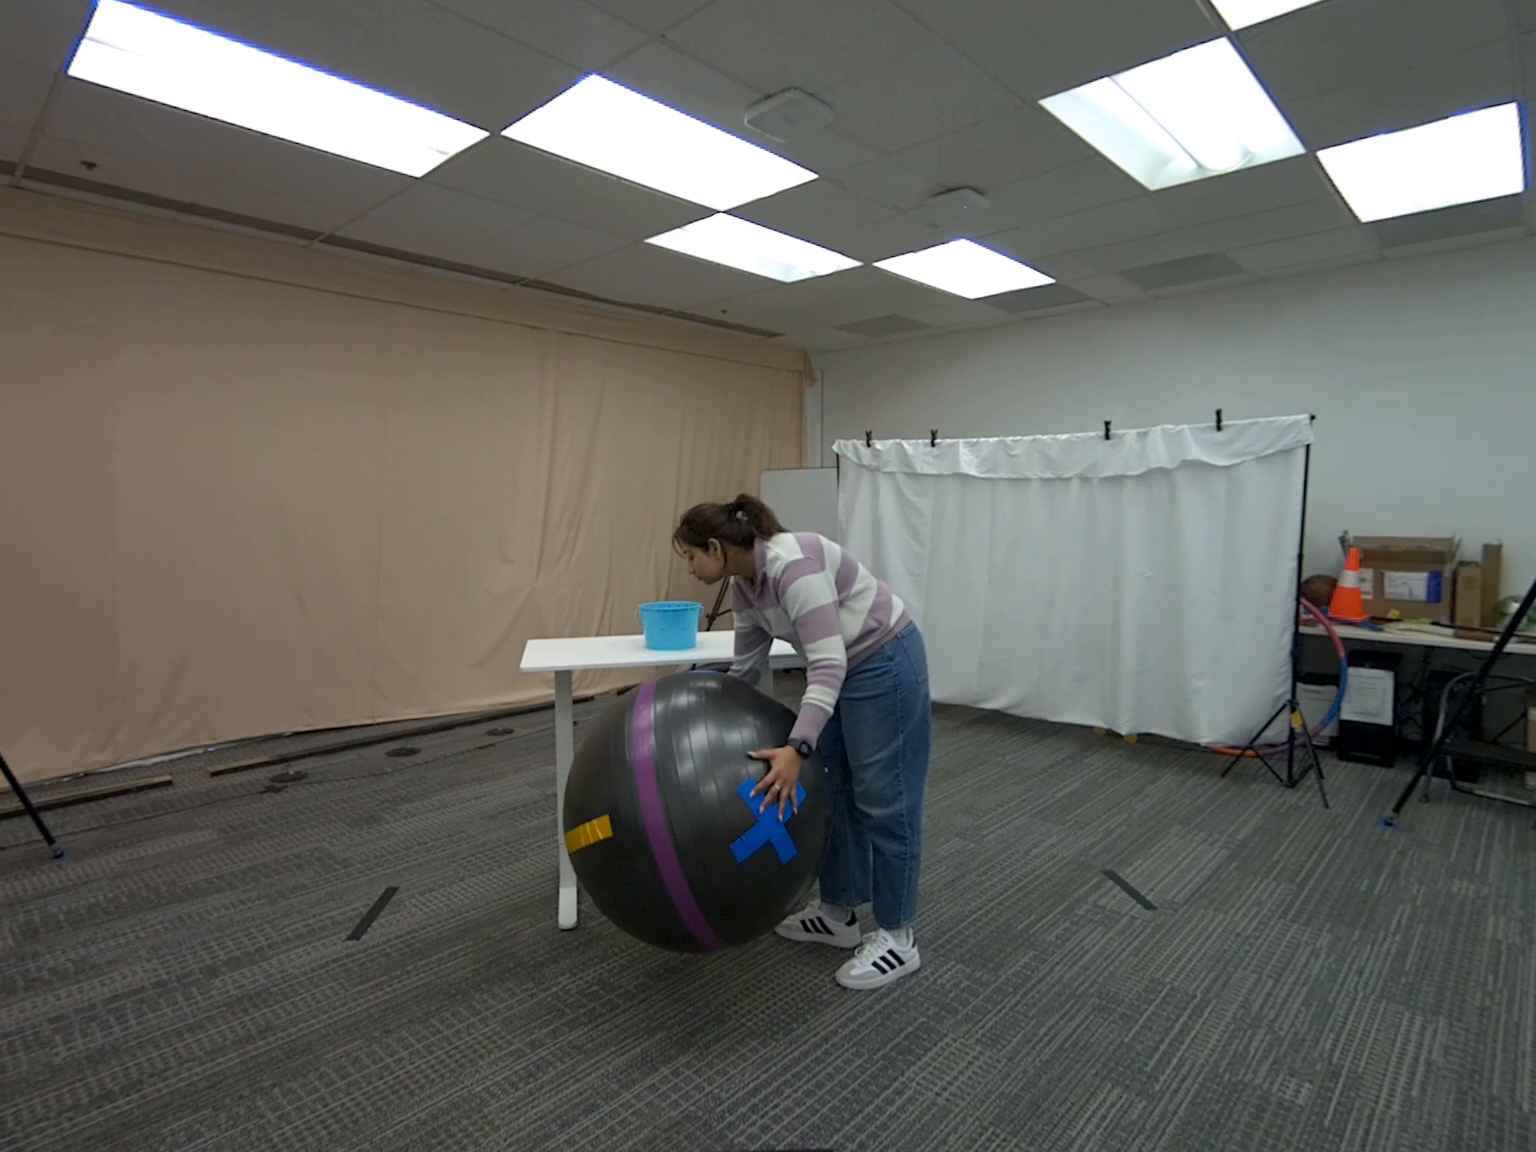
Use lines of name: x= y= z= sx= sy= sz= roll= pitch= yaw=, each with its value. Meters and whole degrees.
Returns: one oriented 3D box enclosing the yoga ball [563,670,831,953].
yoga ball: x=-0.206 y=0.657 z=2.376 sx=0.757 sy=0.756 sz=0.760 roll=0 pitch=4 yaw=-2
